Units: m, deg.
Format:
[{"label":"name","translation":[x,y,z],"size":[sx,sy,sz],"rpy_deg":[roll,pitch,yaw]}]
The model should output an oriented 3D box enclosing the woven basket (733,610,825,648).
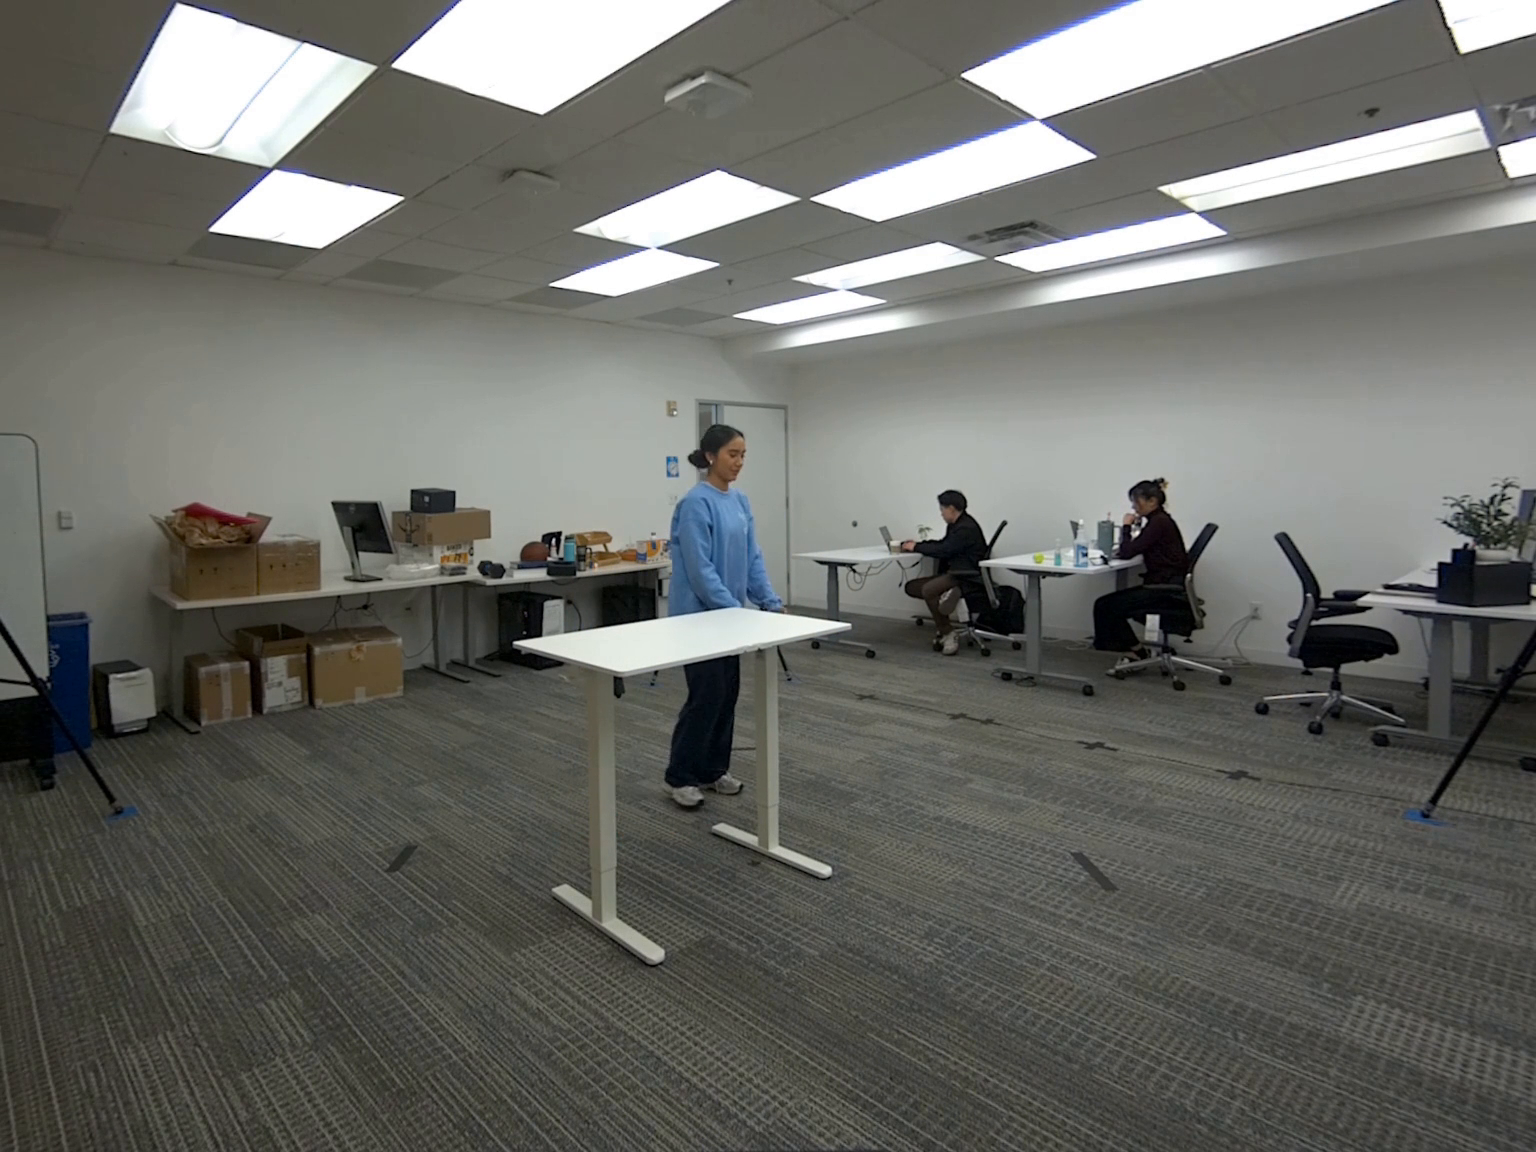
[{"label":"woven basket","translation":[0.049,0.219,3.616],"size":[0.354,0.073,0.251],"rpy_deg":[4,9,11]}]
